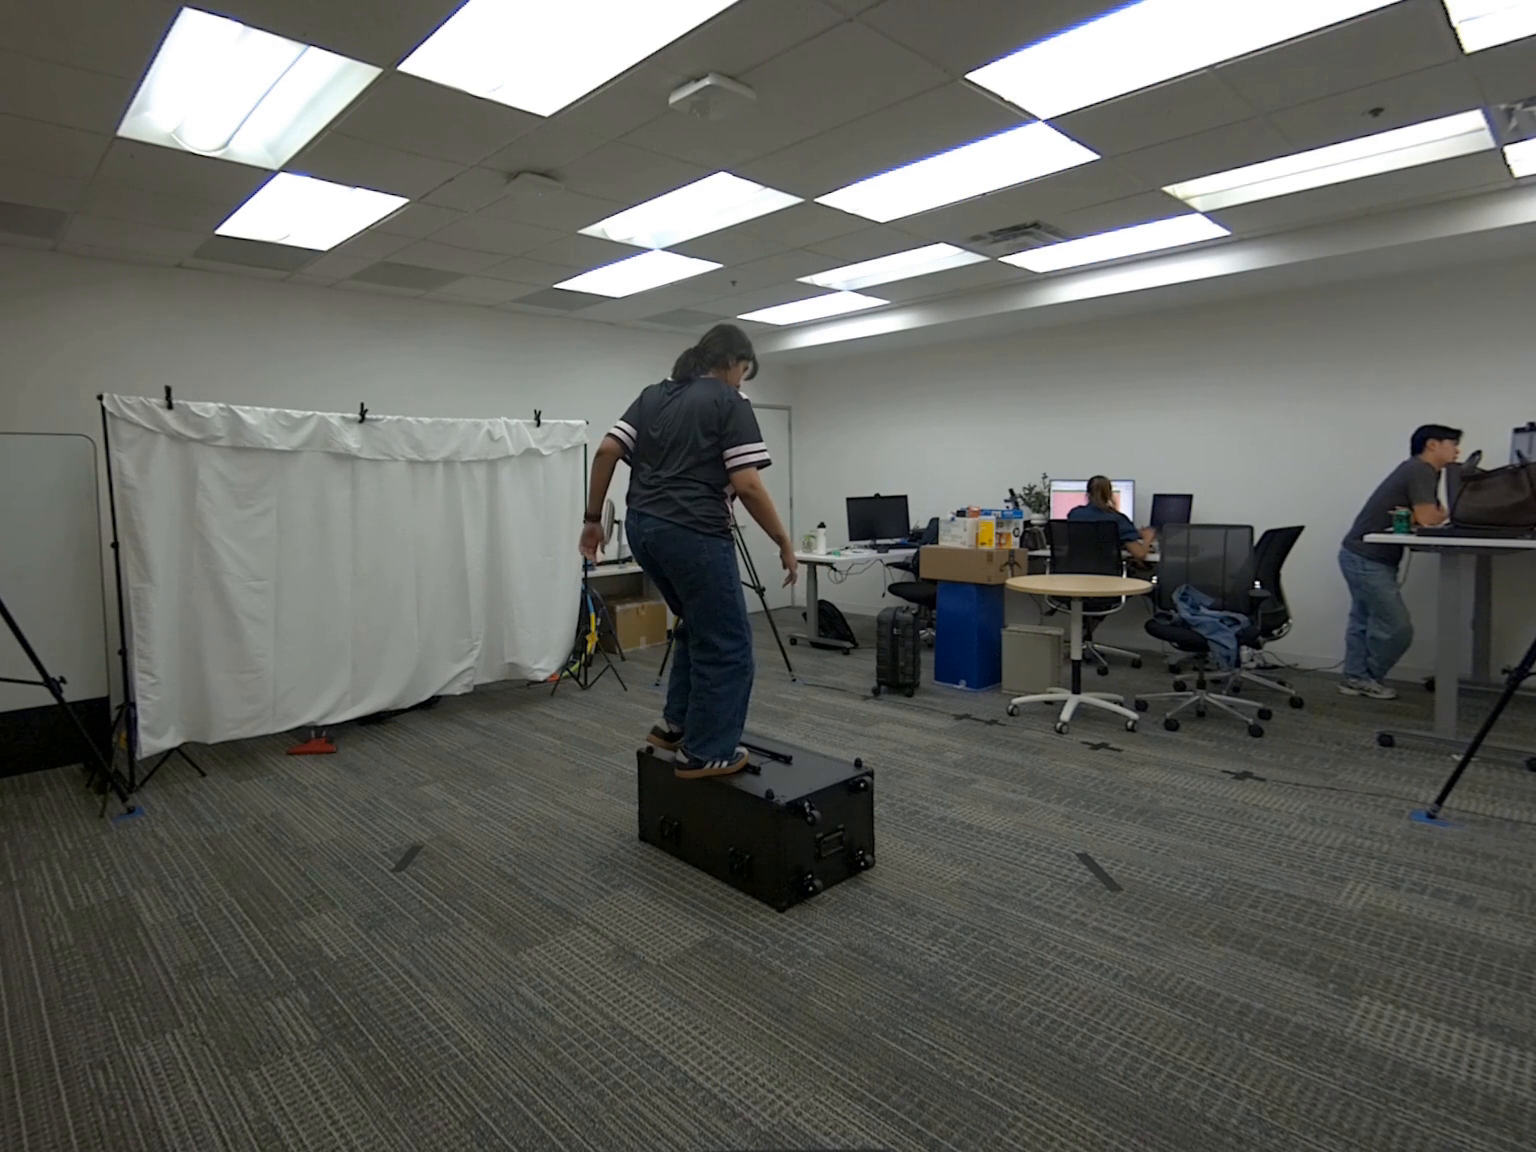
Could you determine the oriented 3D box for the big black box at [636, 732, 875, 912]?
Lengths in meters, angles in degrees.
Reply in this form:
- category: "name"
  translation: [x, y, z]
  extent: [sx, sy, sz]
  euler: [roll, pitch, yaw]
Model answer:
- category: "big black box"
  translation: [-0.032, 0.856, 3.169]
  extent: [0.509, 0.384, 0.895]
  euler: [-4, 7, -43]
